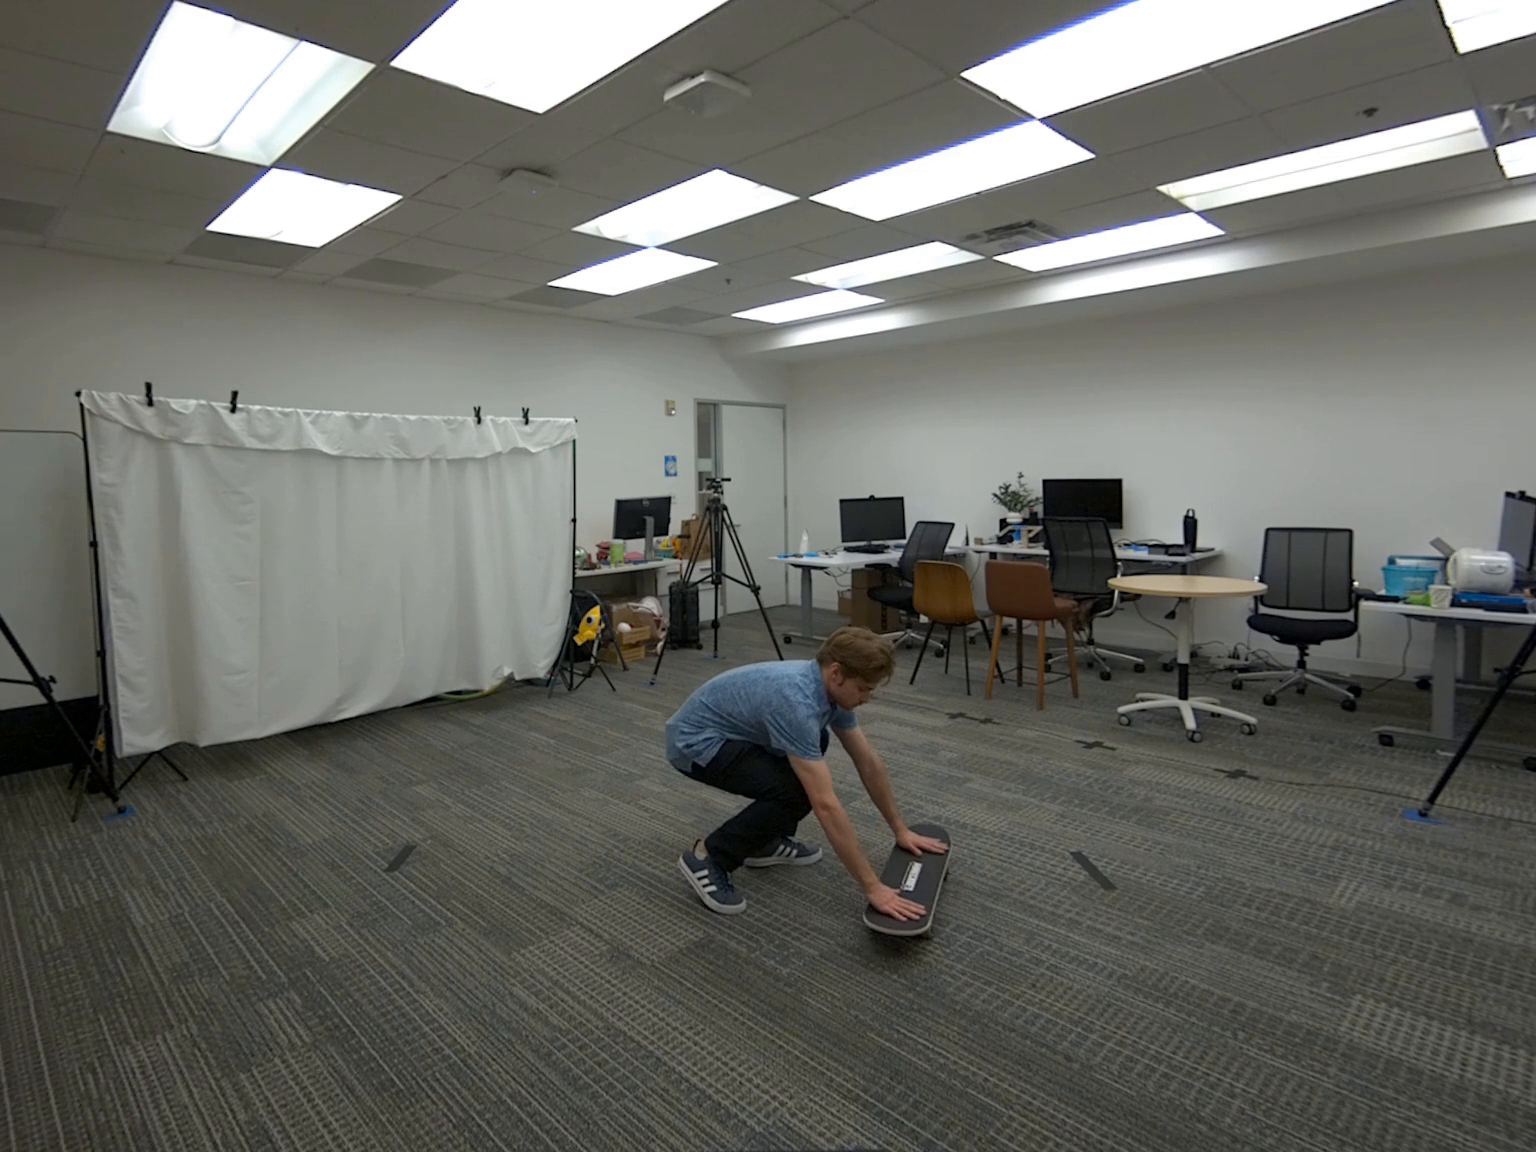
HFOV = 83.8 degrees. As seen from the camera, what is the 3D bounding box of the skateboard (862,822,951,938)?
[{"bbox_3d":[0.468,1.012,2.797,0.197,0.110,0.774,4,8,18],"label":"skateboard"}]
